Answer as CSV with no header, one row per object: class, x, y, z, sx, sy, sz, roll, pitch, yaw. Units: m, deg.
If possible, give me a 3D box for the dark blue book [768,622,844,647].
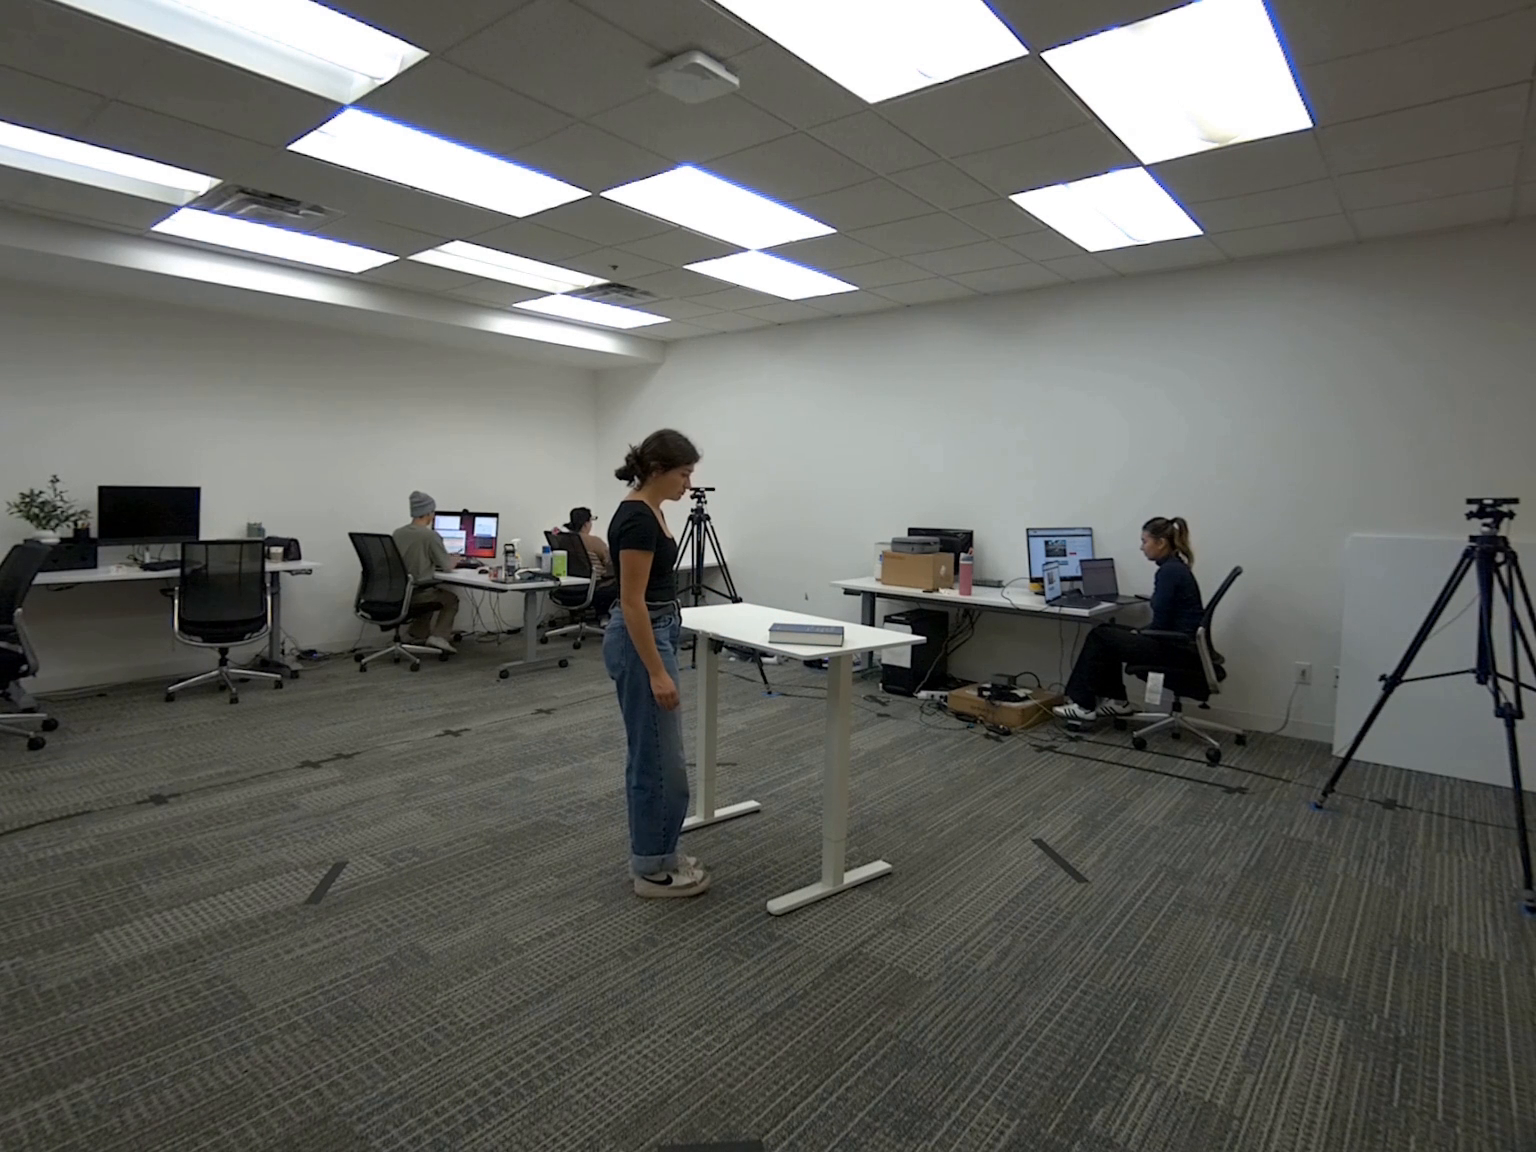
dark blue book,0.125,0.198,2.879,0.248,0.045,0.162,3,6,9
